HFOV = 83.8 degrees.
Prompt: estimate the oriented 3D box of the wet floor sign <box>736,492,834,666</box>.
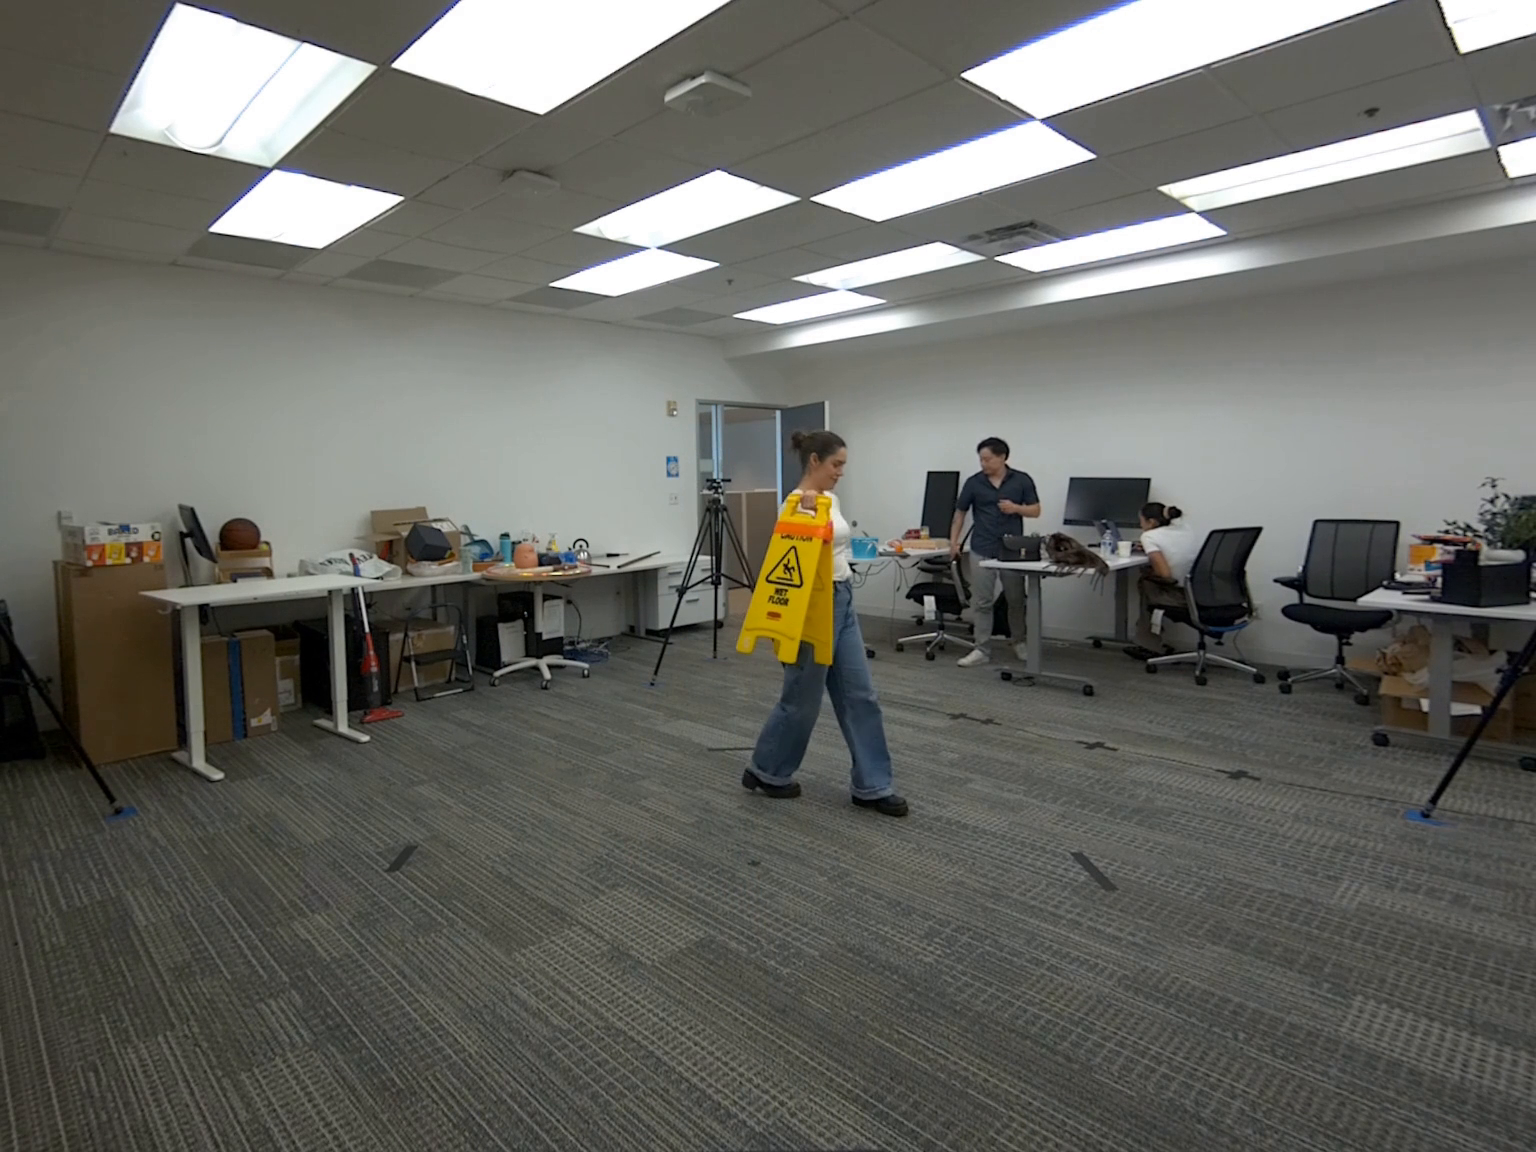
[{"bbox_3d":[0.110,-0.004,3.341,0.291,0.647,0.280,8,-2,37],"label":"wet floor sign"}]
